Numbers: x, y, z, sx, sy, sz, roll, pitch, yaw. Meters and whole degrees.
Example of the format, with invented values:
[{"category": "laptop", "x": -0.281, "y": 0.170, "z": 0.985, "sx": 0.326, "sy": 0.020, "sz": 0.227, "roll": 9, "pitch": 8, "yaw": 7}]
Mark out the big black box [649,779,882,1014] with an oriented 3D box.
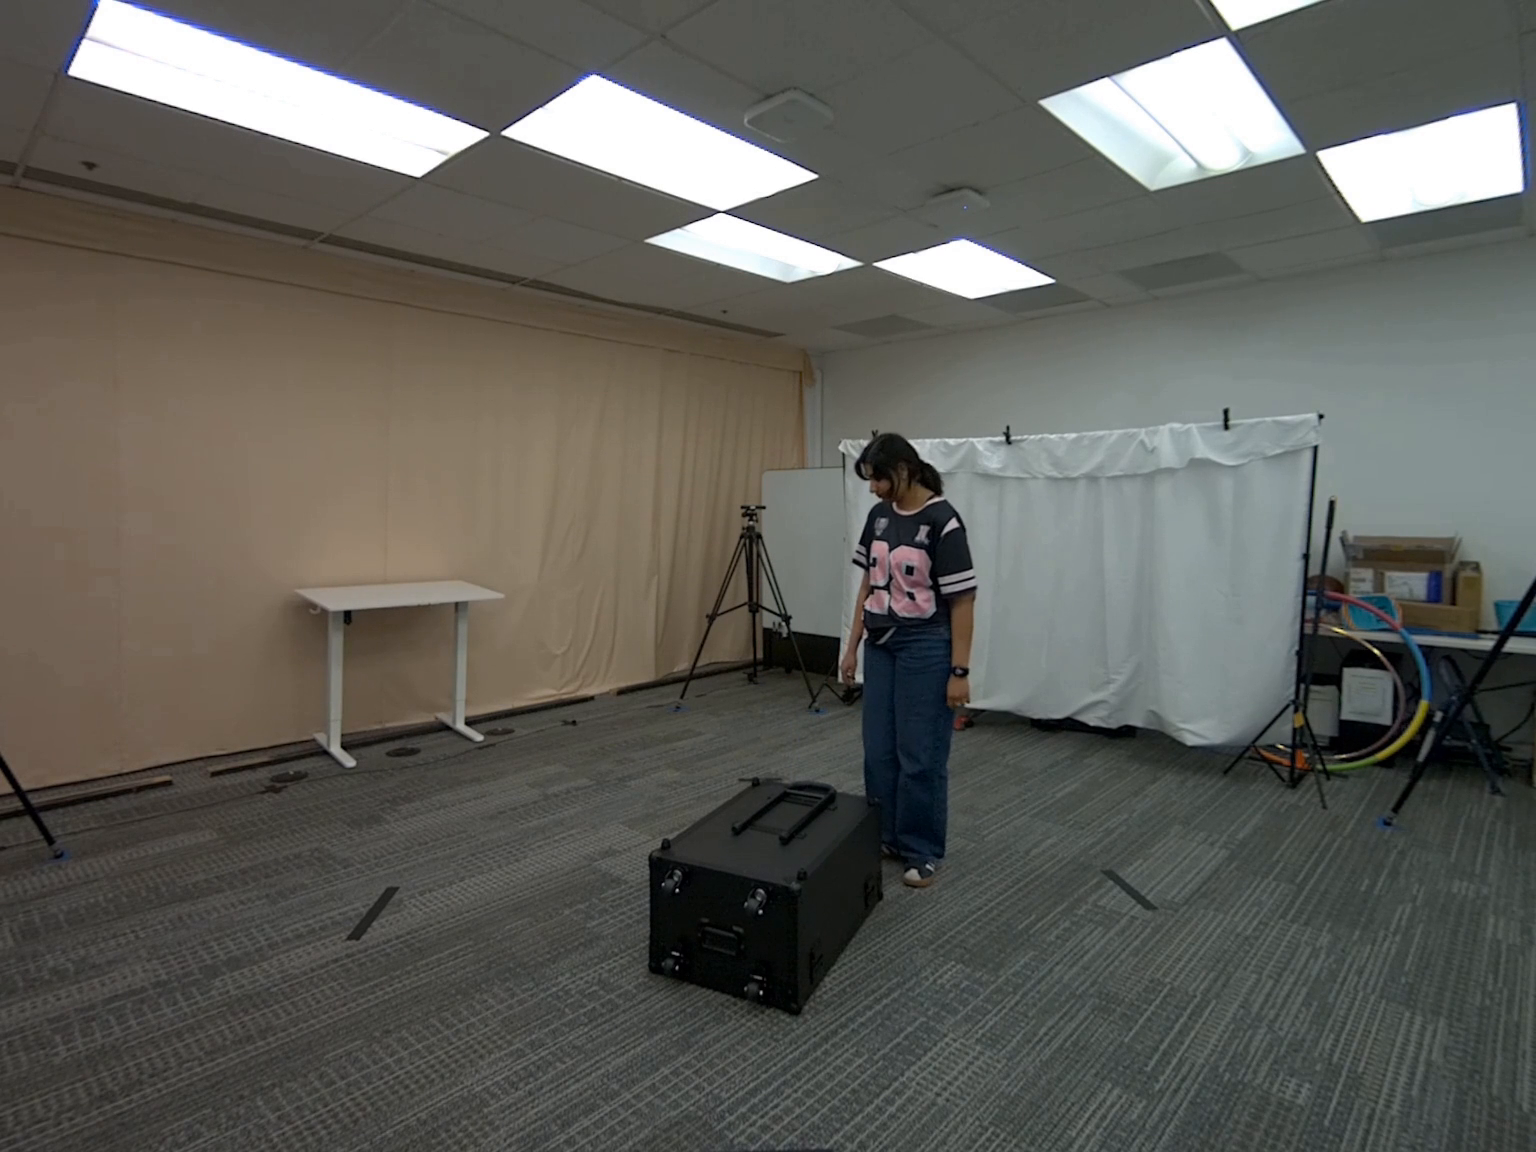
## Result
[{"category": "big black box", "x": 0.015, "y": 0.970, "z": 2.700, "sx": 0.535, "sy": 0.395, "sz": 0.841, "roll": 2, "pitch": 6, "yaw": 25}]
